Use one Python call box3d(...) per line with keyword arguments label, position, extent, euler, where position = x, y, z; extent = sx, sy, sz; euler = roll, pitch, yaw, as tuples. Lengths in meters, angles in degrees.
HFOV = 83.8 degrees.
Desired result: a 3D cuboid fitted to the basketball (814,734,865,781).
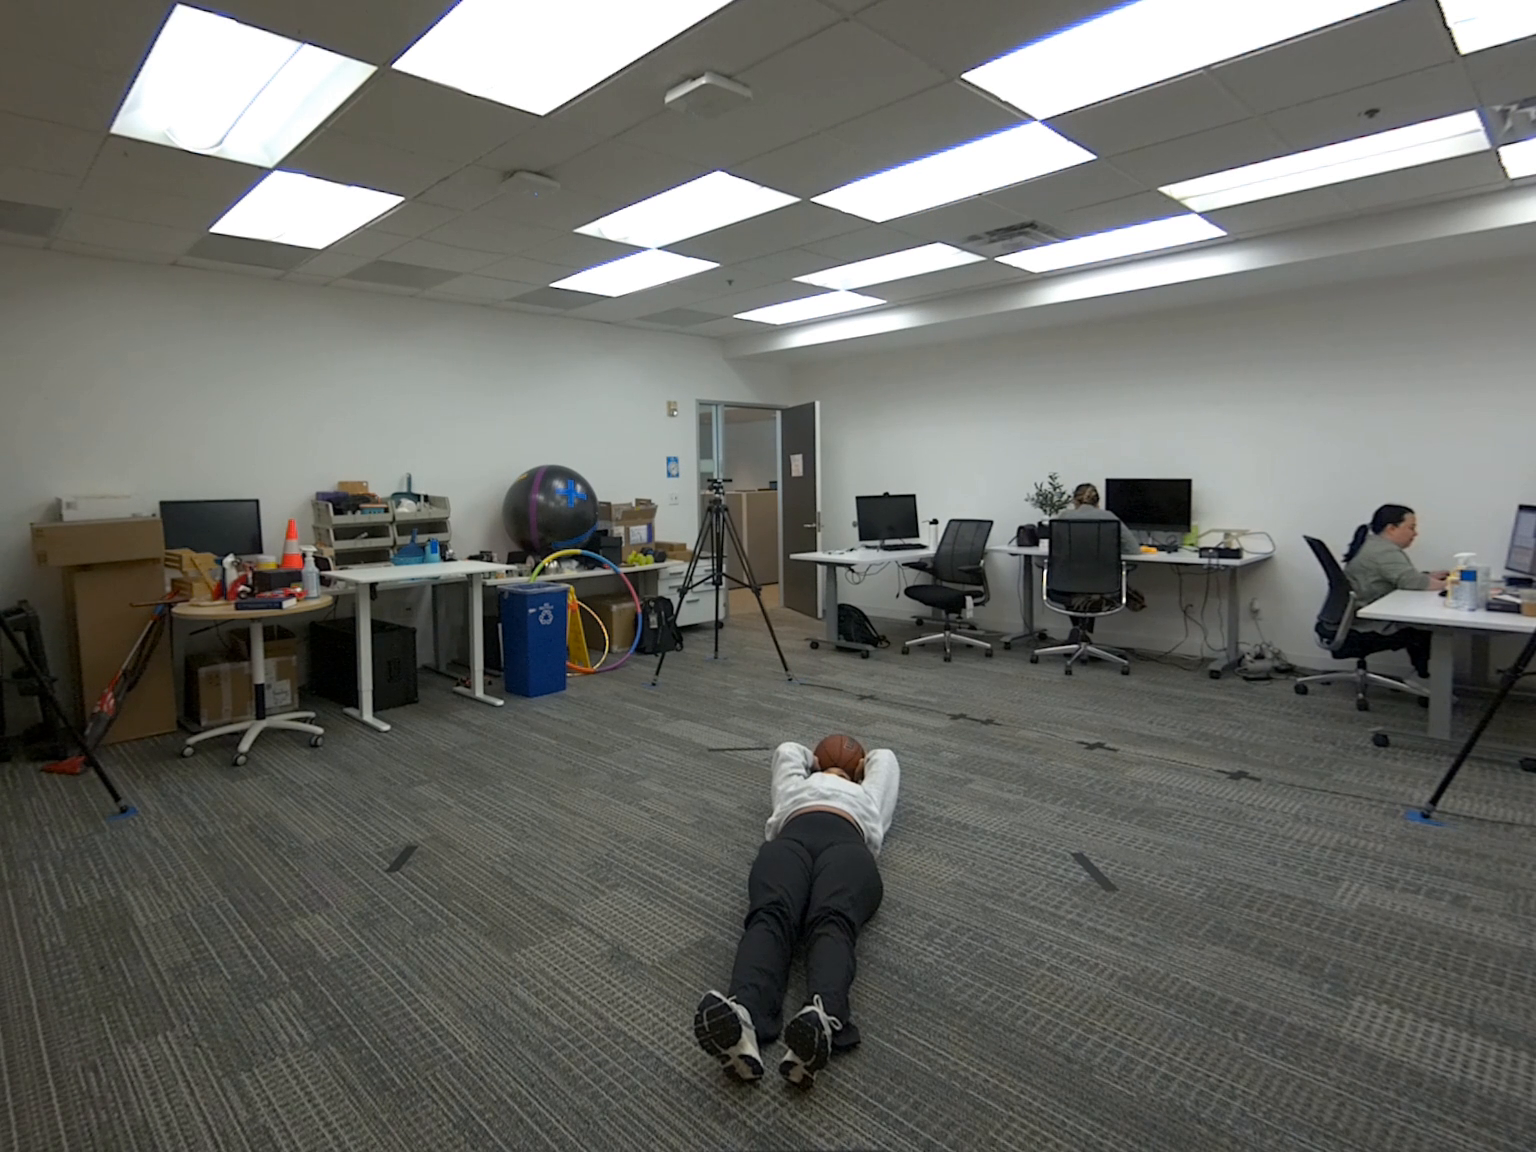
box3d(label="basketball", position=(0.325, 0.826, 3.840), extent=(0.236, 0.235, 0.237), euler=(-1, 4, -2))
